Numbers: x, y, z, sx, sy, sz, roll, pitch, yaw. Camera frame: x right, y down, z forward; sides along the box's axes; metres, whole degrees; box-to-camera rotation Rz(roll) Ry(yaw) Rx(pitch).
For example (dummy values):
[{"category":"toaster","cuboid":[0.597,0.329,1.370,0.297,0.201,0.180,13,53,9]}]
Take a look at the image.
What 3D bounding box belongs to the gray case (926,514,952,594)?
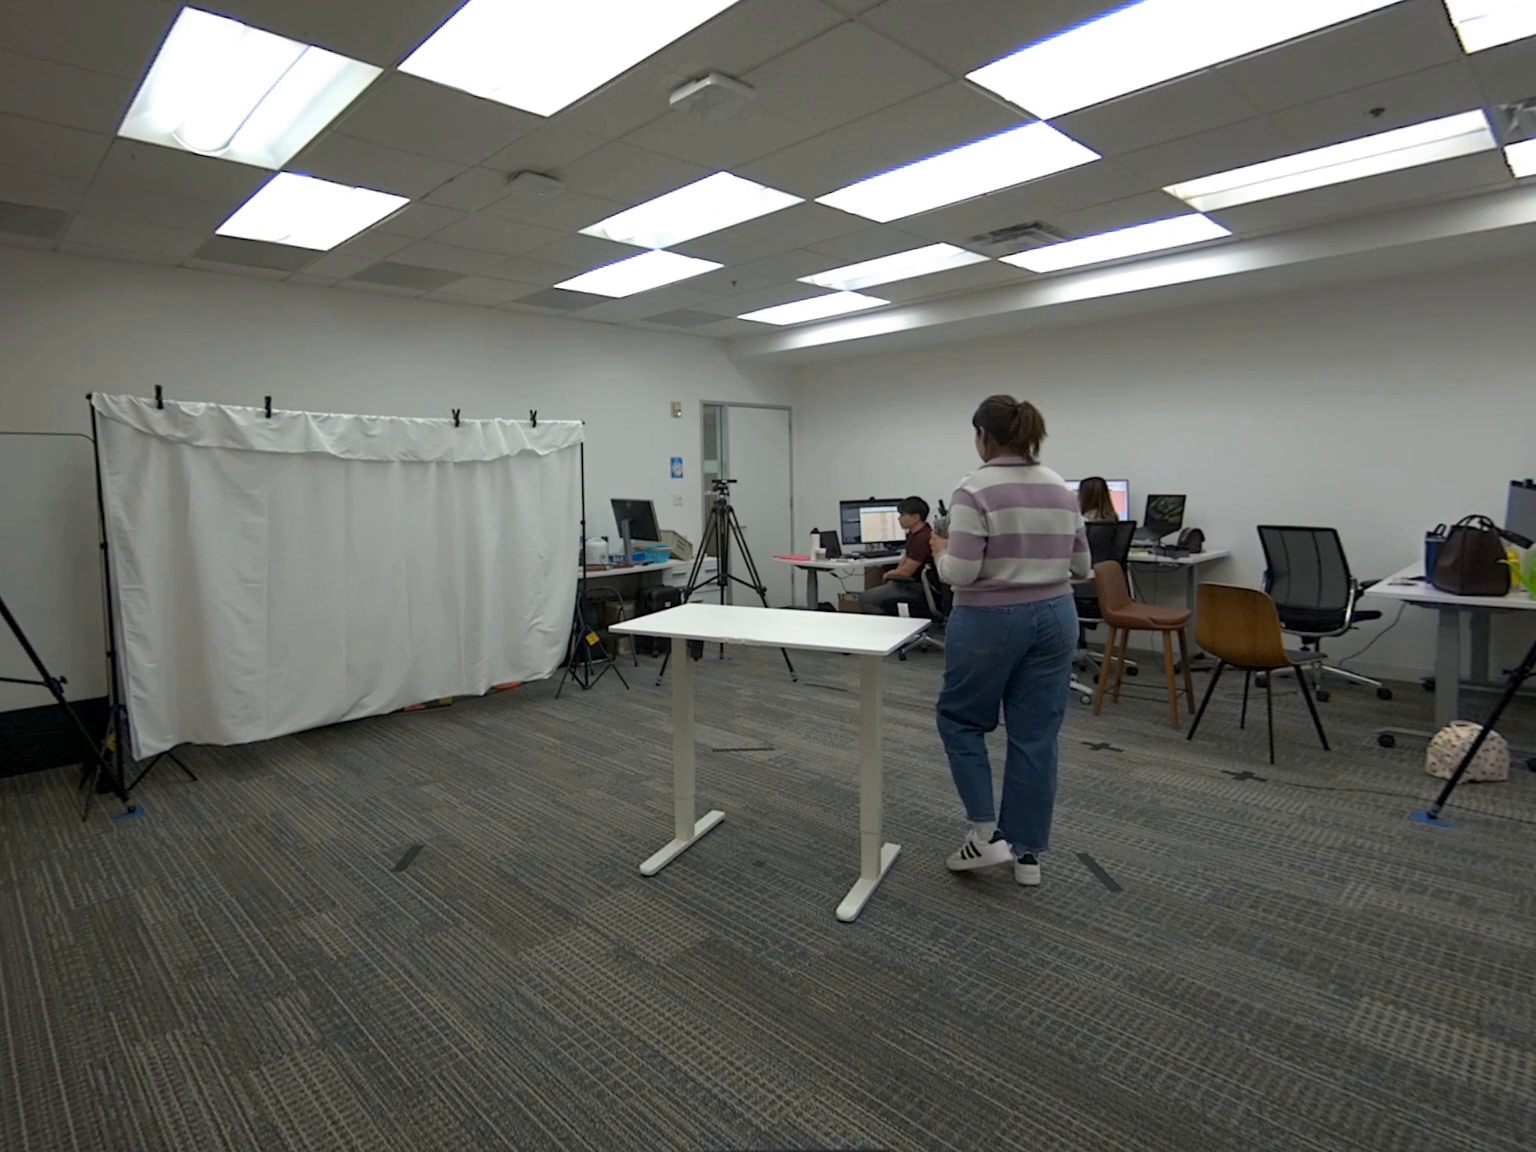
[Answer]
[{"category":"gray case","cuboid":[0.766,-0.110,3.173,0.252,0.261,0.106,-6,0,-24]}]
